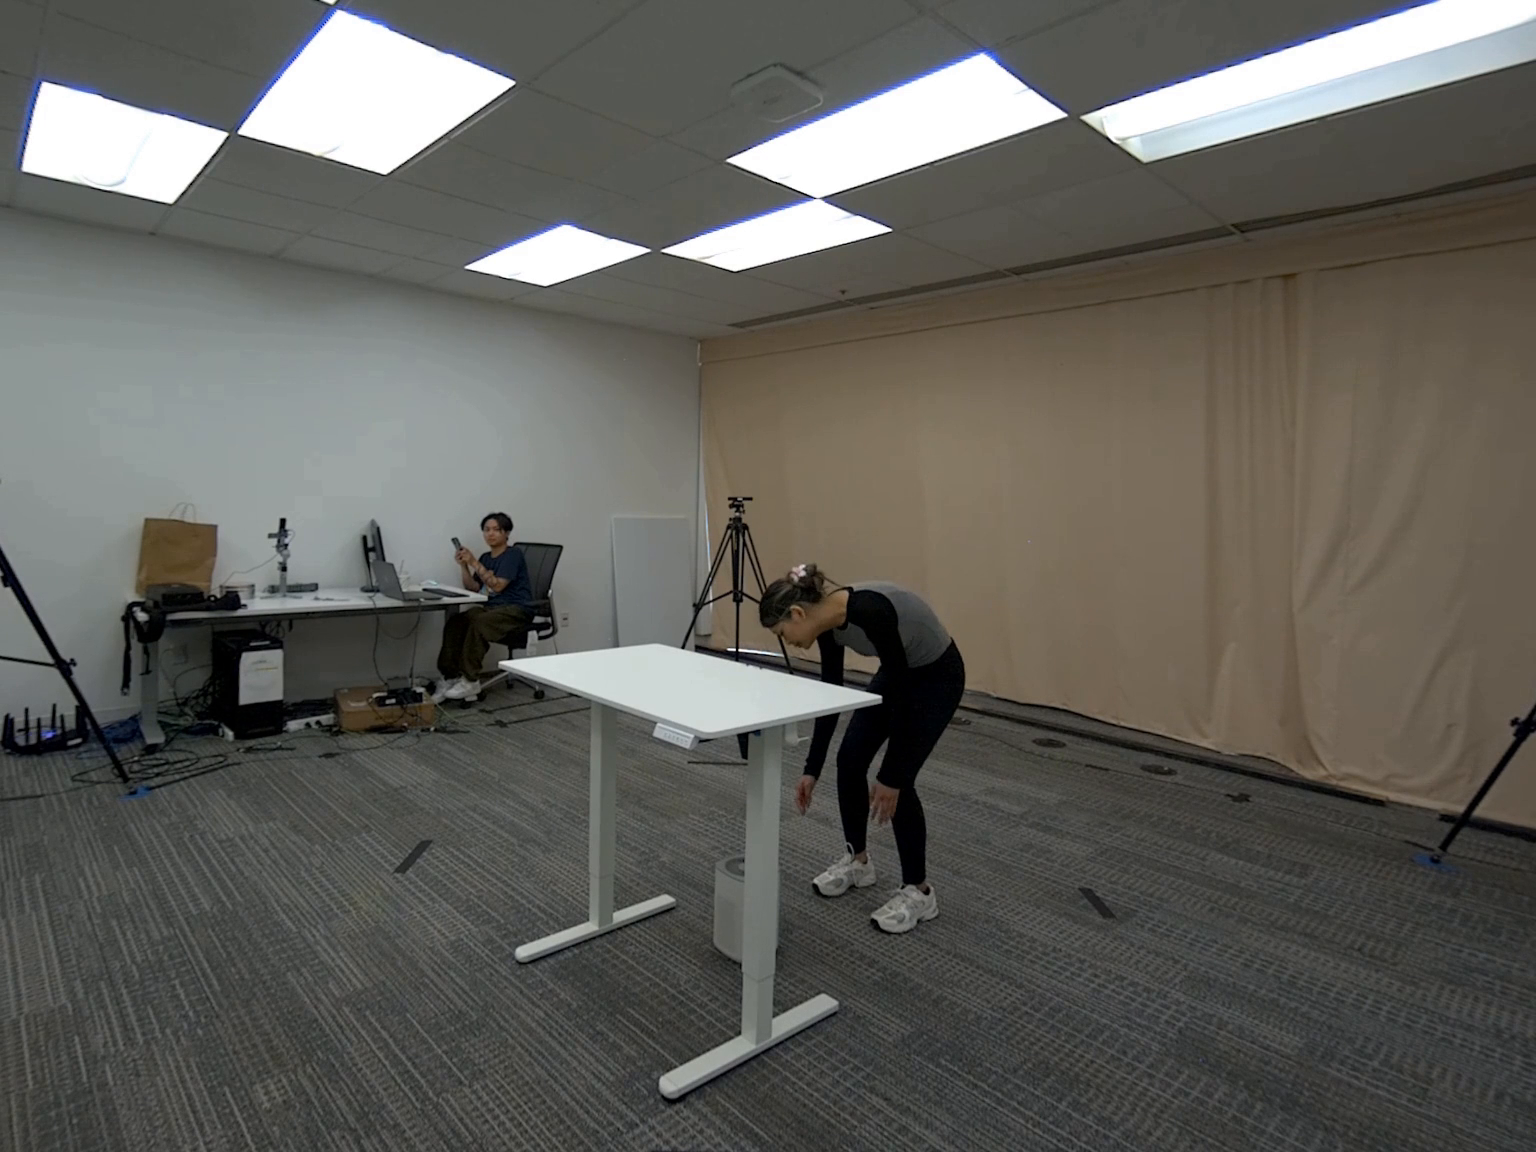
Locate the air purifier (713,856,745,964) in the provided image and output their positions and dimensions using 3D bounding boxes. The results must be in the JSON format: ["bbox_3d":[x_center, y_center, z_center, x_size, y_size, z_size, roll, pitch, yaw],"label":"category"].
[{"bbox_3d":[-0.063,1.022,2.583,0.167,0.265,0.176,-2,5,-44],"label":"air purifier"}]
